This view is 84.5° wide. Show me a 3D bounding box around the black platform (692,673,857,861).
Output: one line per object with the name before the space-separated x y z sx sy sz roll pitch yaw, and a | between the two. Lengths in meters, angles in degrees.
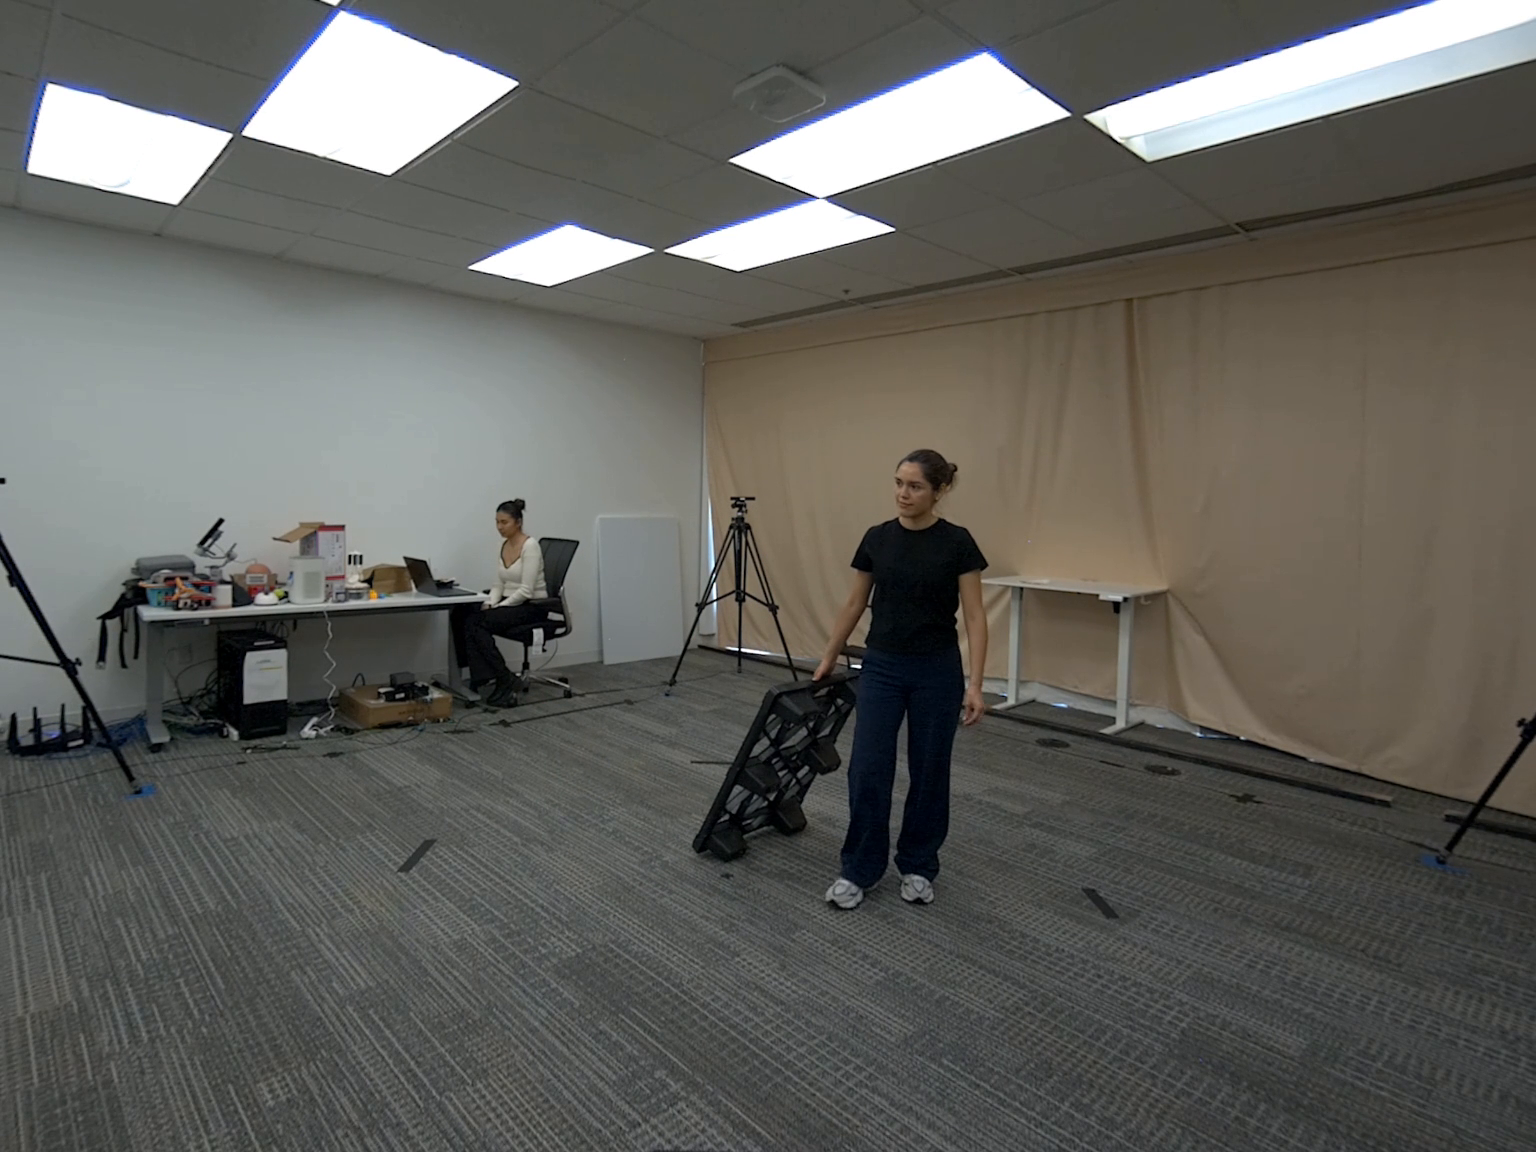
black platform | 0.083 0.741 3.270 0.591 0.799 0.148 -3 35 -48
